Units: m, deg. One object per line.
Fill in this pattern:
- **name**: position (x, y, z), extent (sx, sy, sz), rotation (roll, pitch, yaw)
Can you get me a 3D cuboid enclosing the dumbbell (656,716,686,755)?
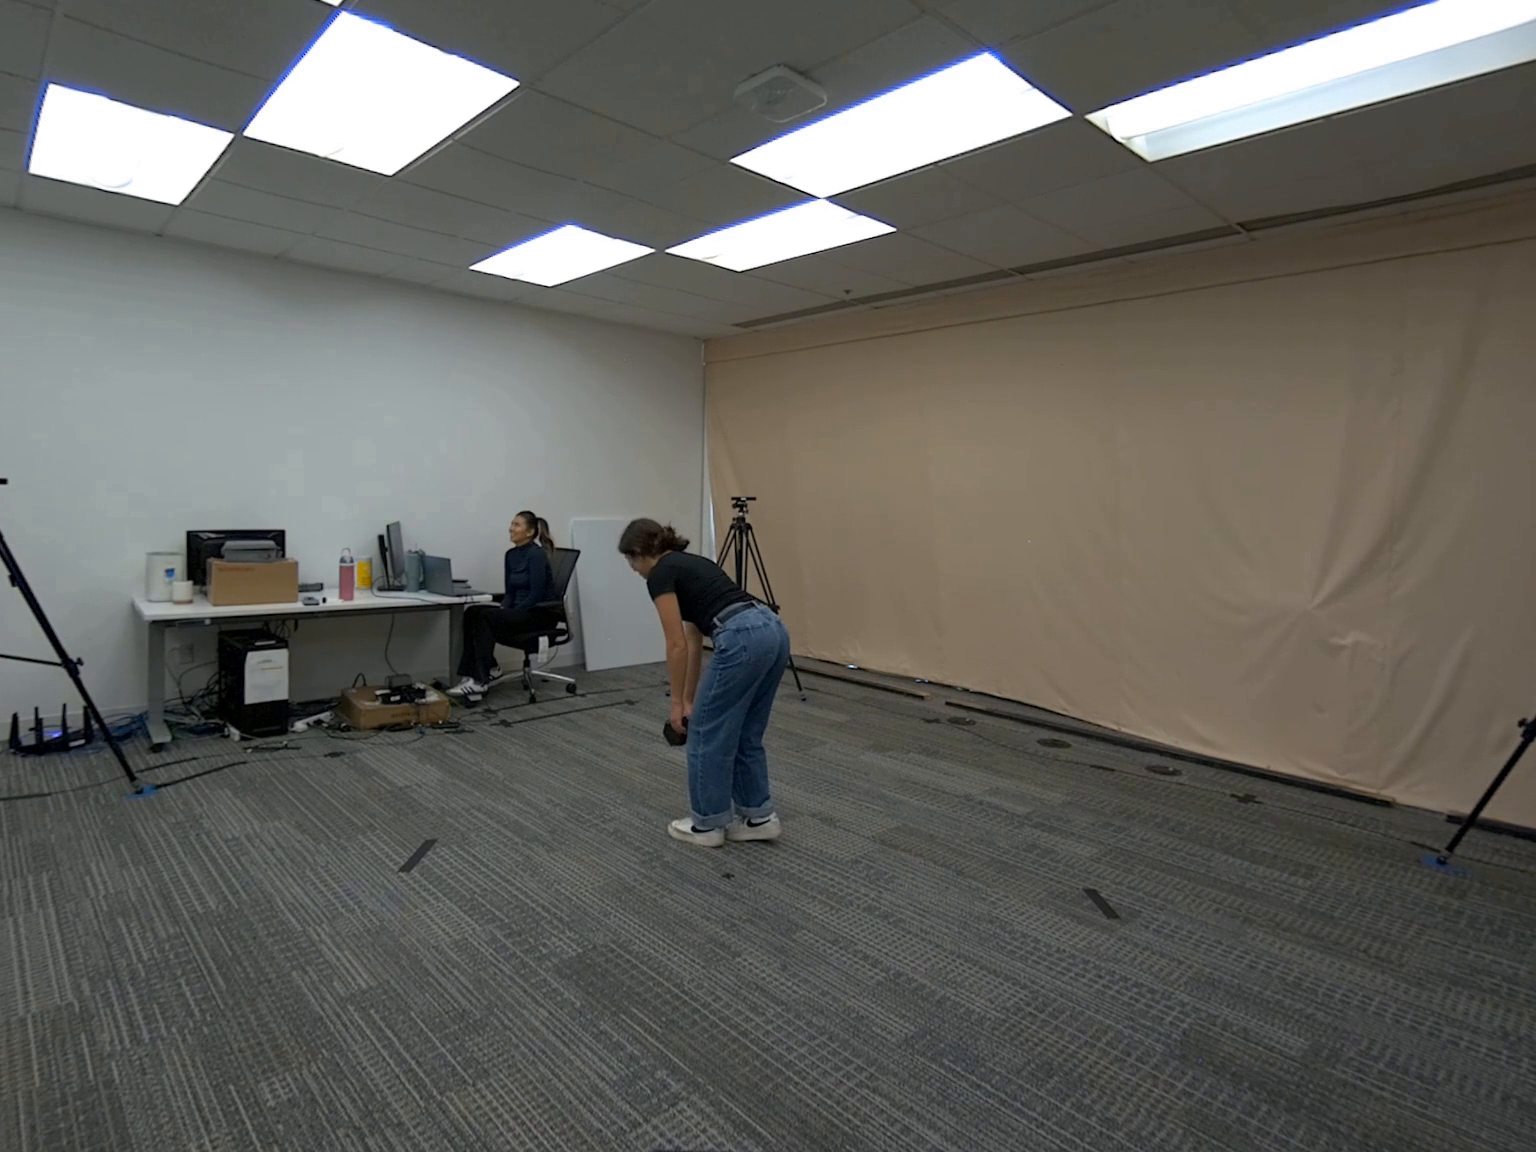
- **dumbbell**: position (-0.309, 0.616, 3.520), extent (0.109, 0.125, 0.288), rotation (-46, -17, 32)
